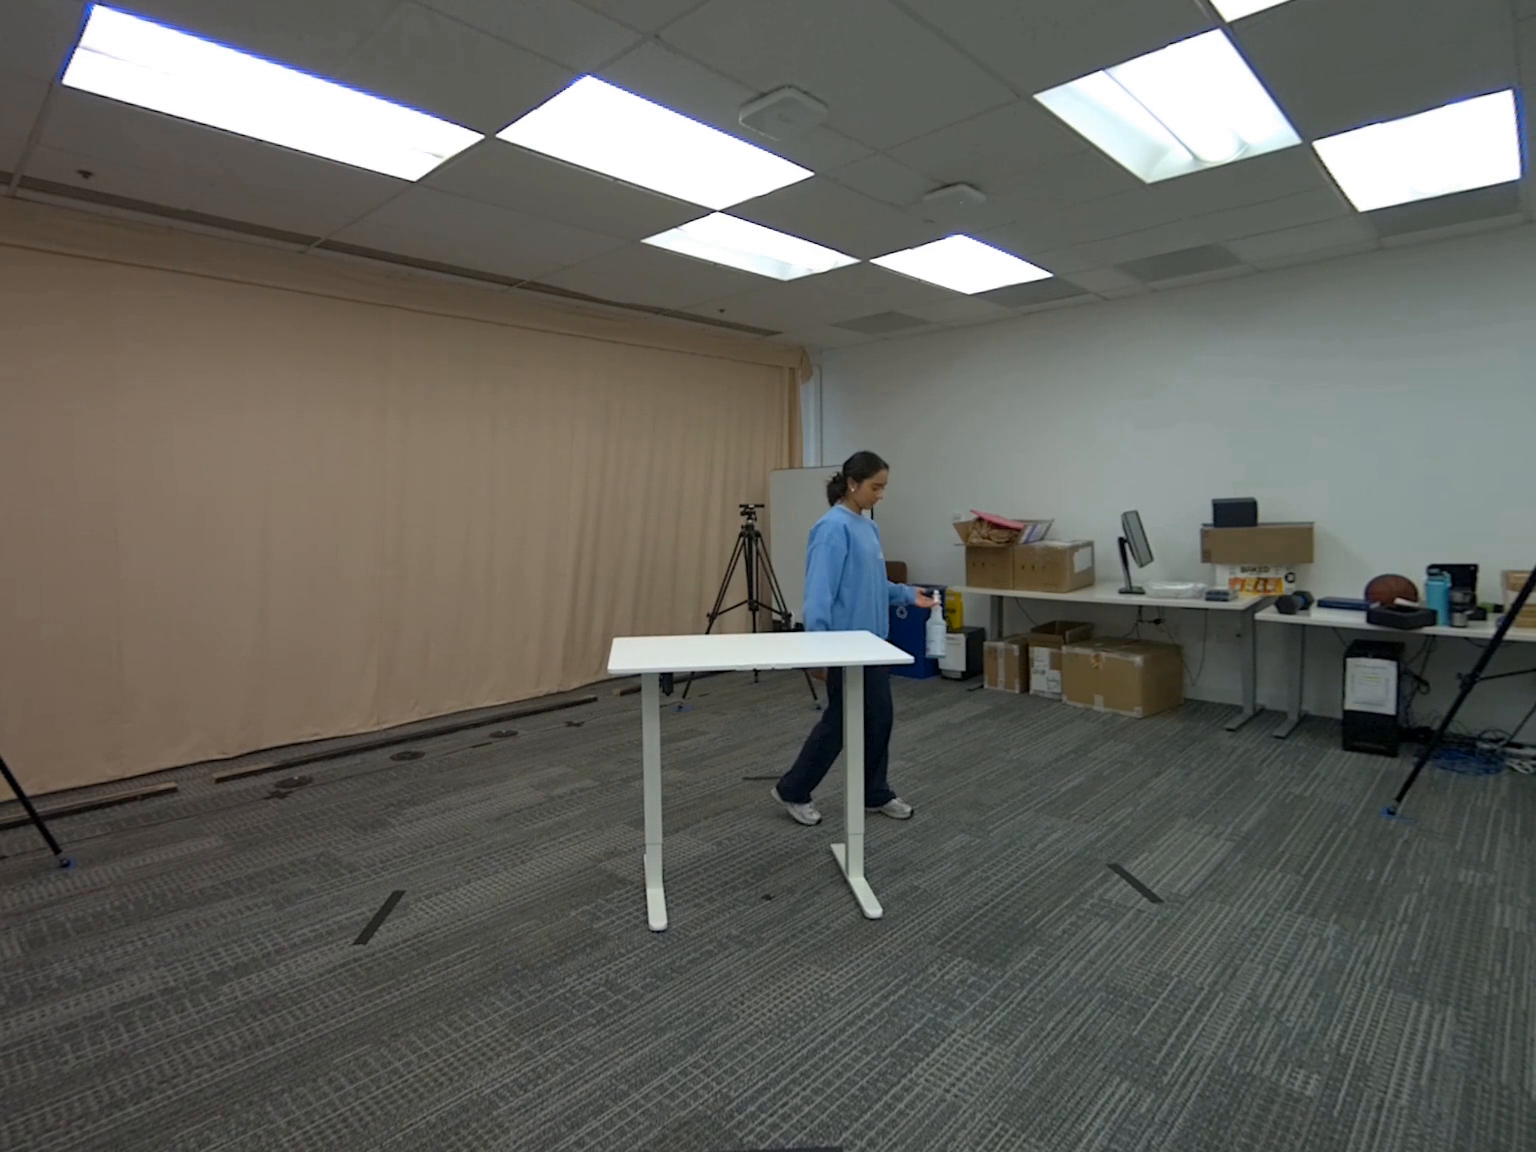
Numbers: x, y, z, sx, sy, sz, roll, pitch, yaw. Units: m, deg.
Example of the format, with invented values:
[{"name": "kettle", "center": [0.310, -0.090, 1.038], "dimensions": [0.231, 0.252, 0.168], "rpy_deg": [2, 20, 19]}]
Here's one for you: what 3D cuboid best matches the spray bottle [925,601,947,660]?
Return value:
[{"name": "spray bottle", "center": [0.753, 0.220, 3.745], "dimensions": [0.090, 0.298, 0.087], "rpy_deg": [-4, -9, 42]}]
